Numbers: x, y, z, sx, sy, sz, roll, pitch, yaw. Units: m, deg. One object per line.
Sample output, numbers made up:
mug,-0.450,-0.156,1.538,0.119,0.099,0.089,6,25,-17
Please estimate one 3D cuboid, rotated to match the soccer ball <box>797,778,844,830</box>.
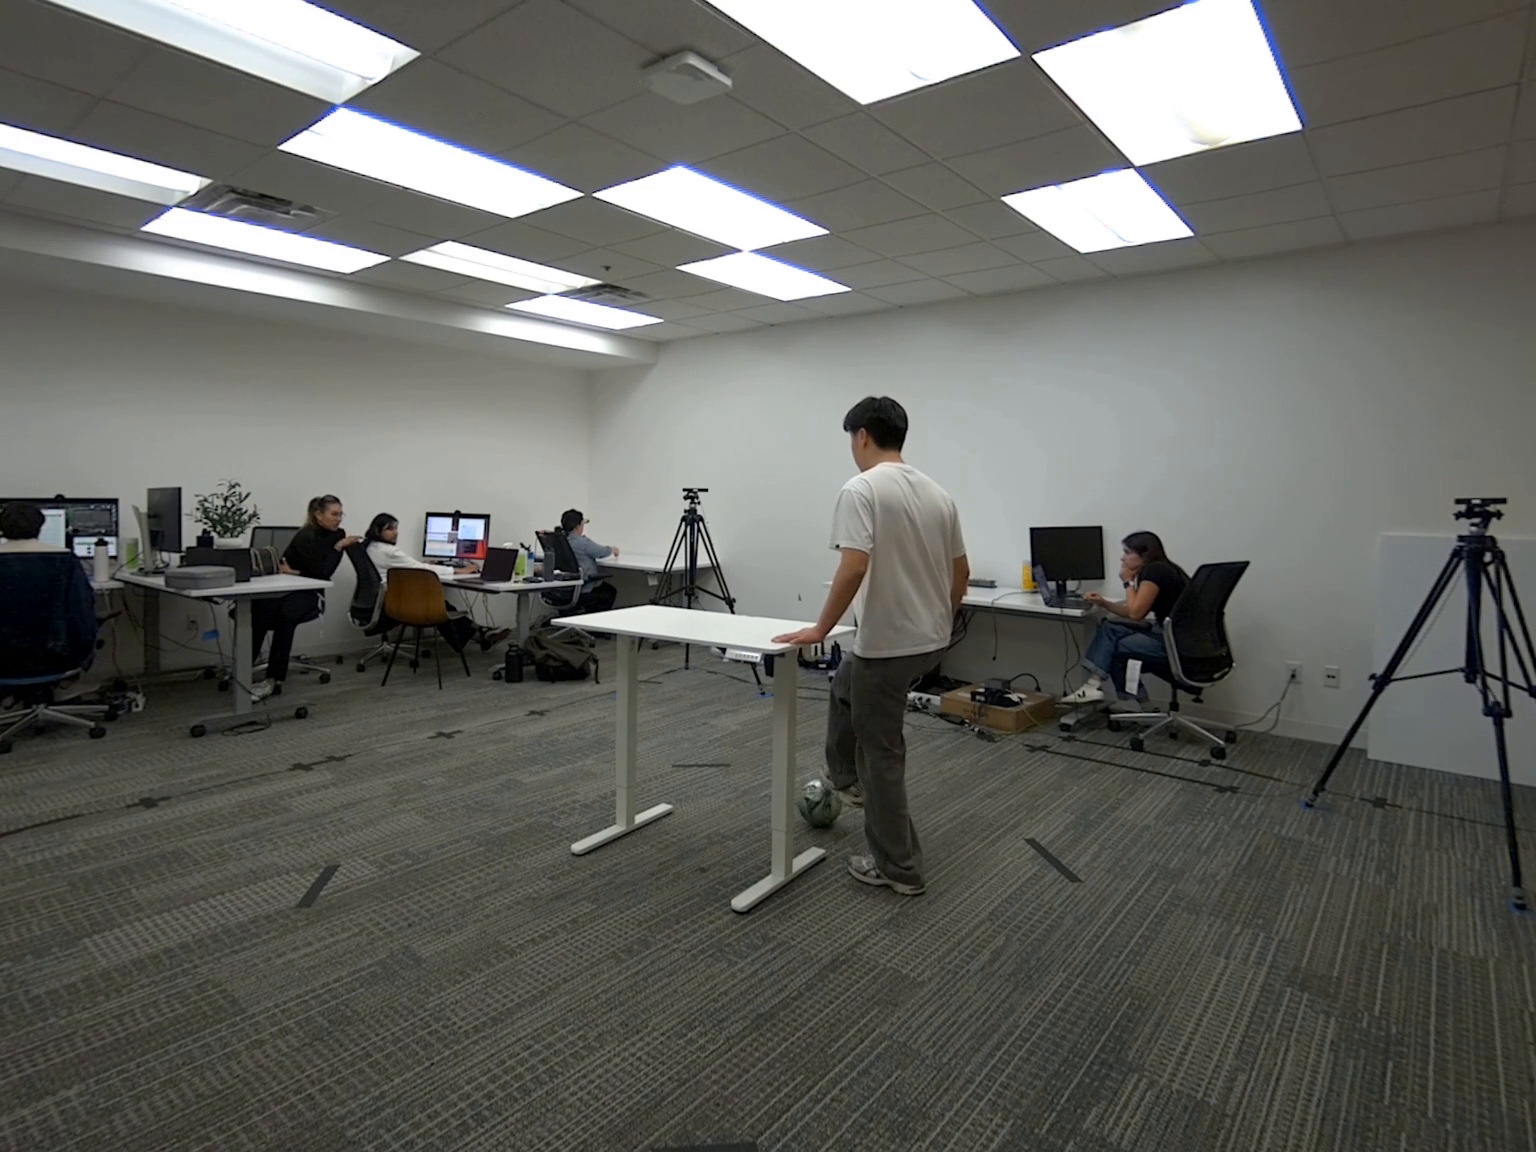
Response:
soccer ball,0.227,0.936,3.550,0.187,0.187,0.188,1,4,-2
